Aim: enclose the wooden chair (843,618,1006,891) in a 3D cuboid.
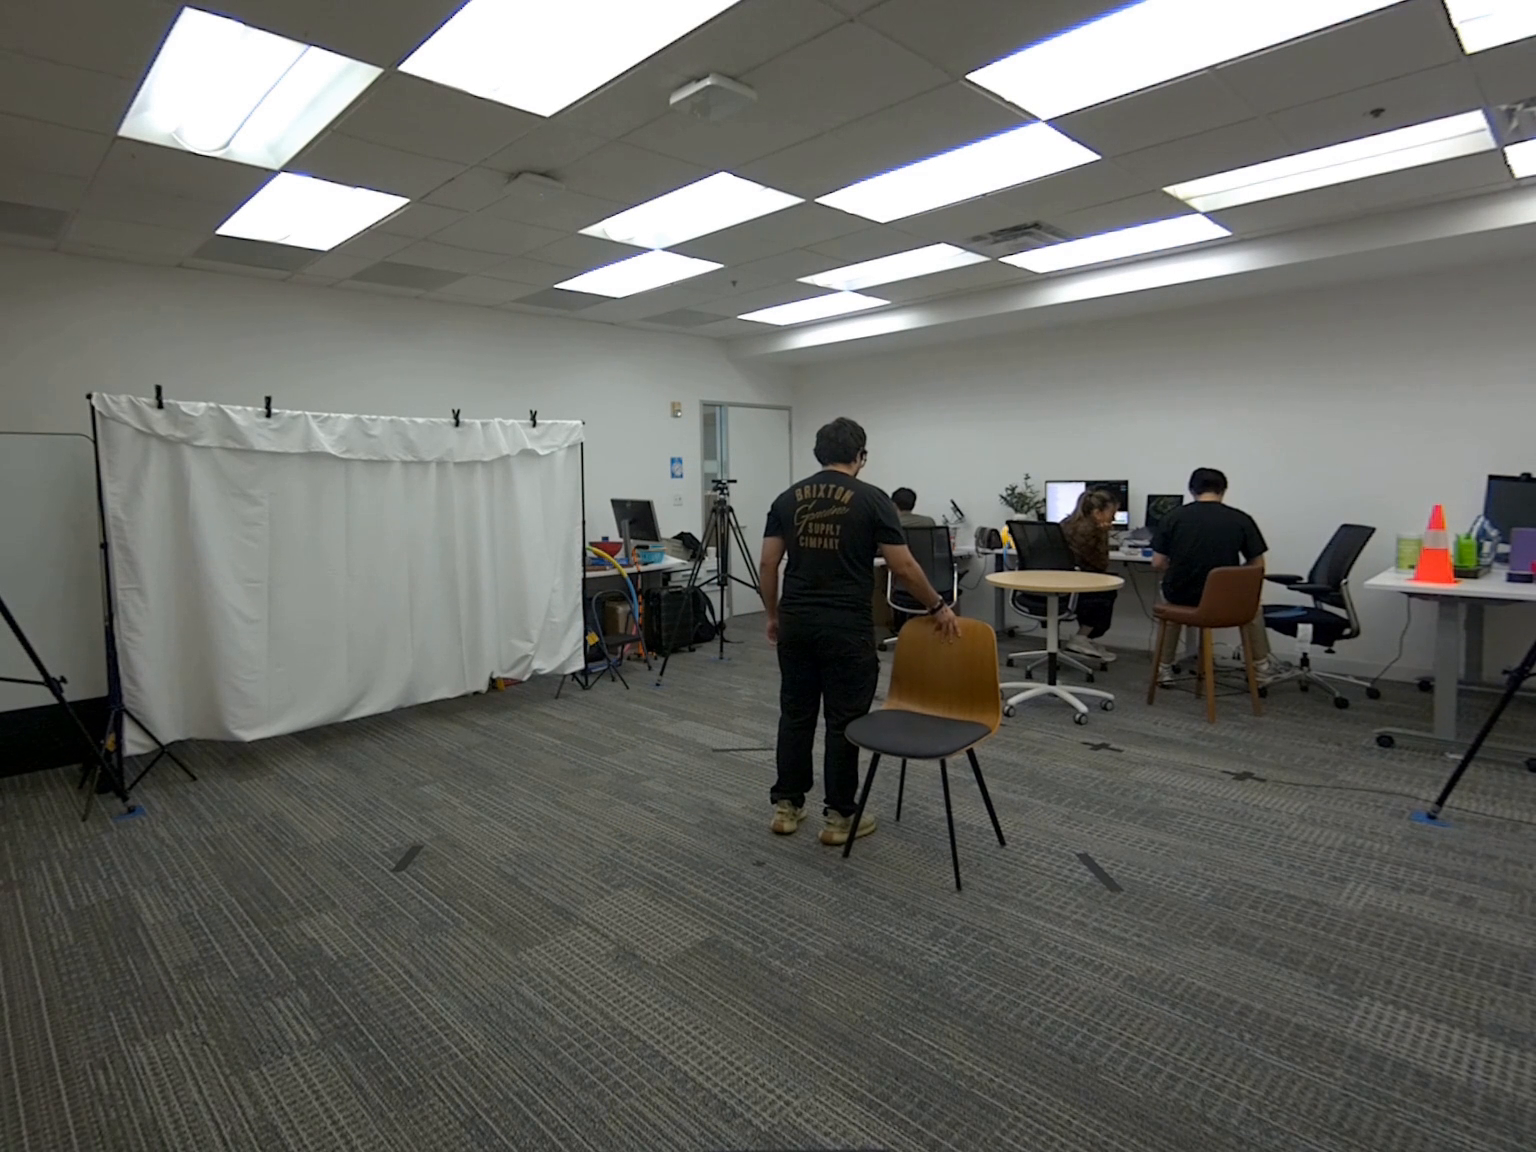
[{"bbox_3d":[0.581,0.604,3.145,0.492,0.877,0.508,2,1,35],"label":"wooden chair"}]
